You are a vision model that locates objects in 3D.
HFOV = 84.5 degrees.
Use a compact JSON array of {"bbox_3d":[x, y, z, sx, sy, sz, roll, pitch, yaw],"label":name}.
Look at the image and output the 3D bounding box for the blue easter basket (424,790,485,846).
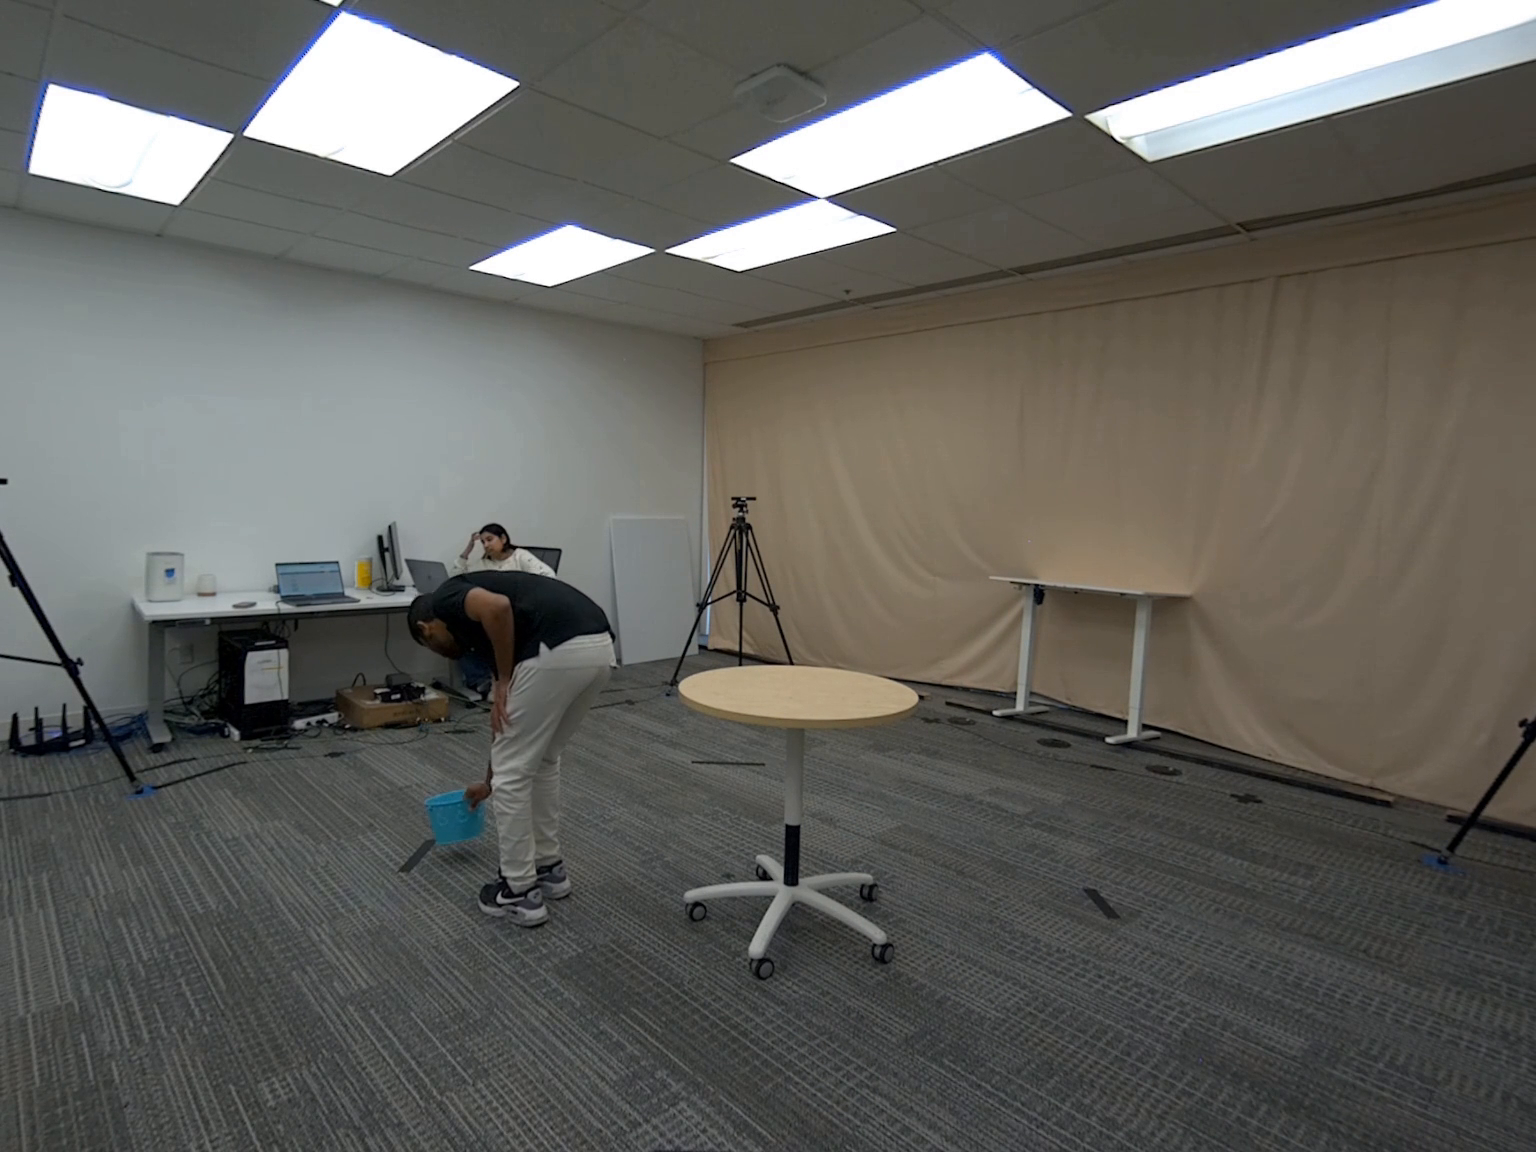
[{"bbox_3d":[-1.203,0.907,3.210,0.243,0.156,0.243,-6,0,-1],"label":"blue easter basket"}]
